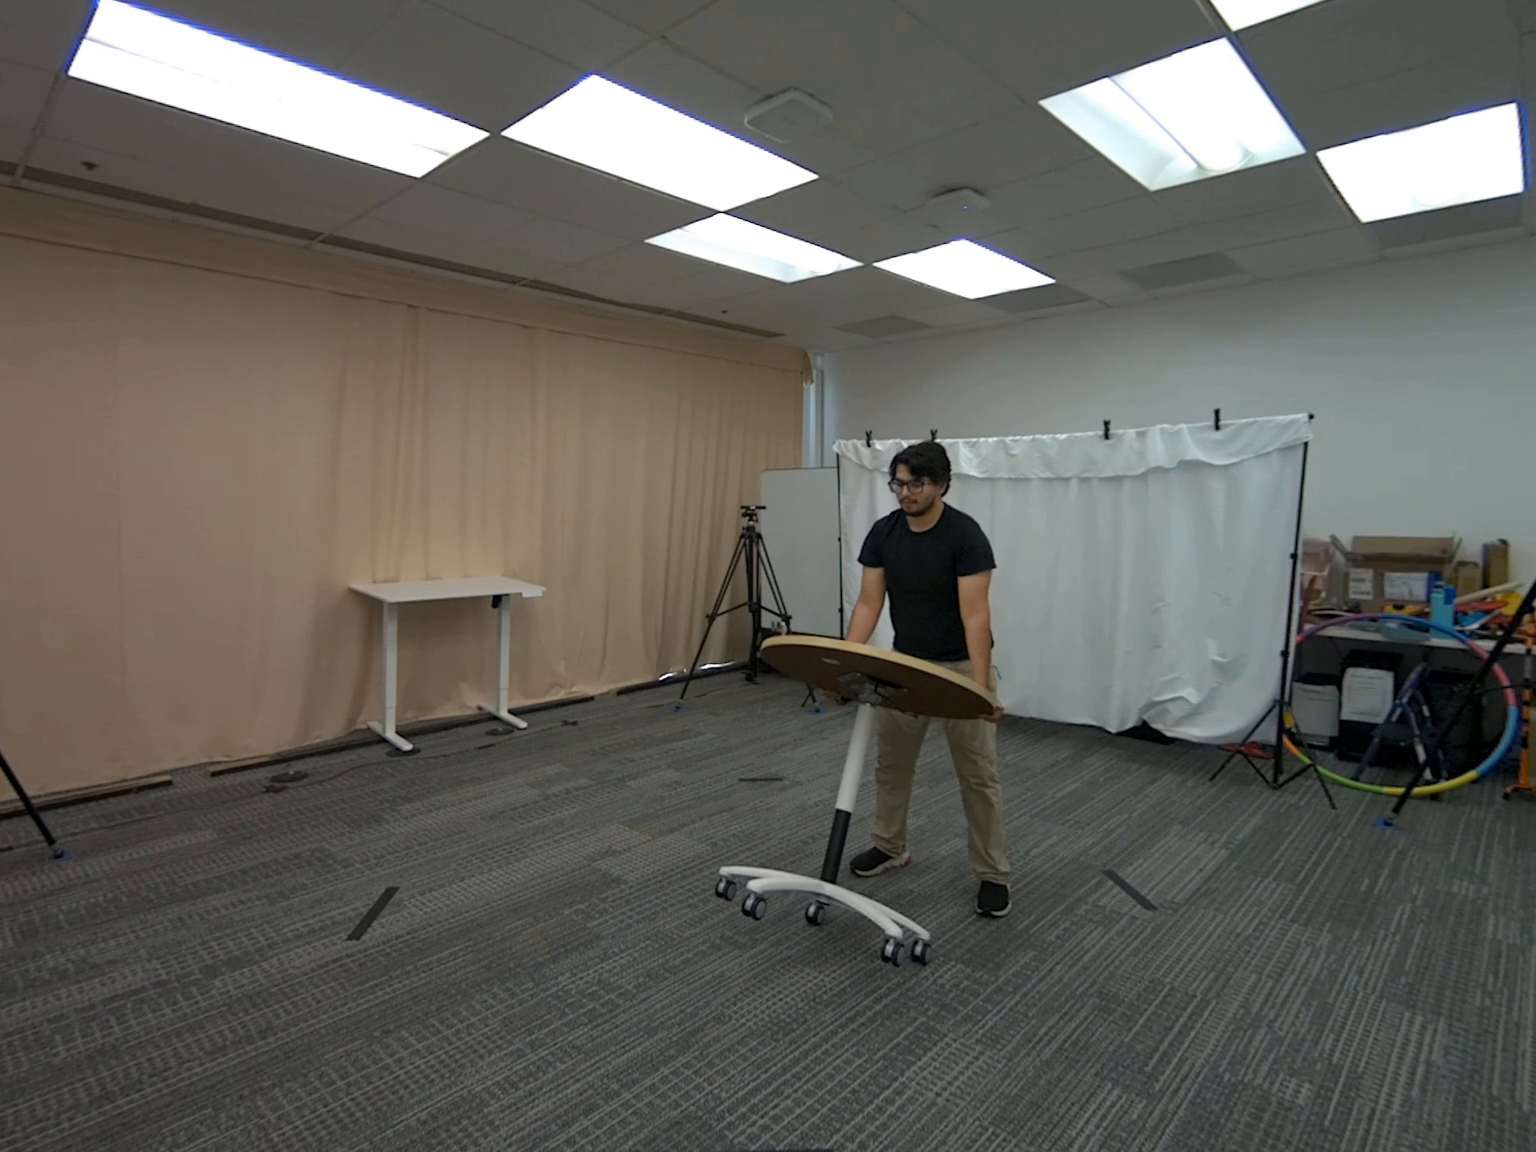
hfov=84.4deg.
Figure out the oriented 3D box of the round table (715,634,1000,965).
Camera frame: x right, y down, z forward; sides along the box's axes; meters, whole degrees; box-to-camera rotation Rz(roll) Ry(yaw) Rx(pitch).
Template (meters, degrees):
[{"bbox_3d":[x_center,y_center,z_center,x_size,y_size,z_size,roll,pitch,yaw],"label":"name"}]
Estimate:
[{"bbox_3d":[0.256,0.699,2.640,0.789,0.790,0.778,15,-17,3],"label":"round table"}]
